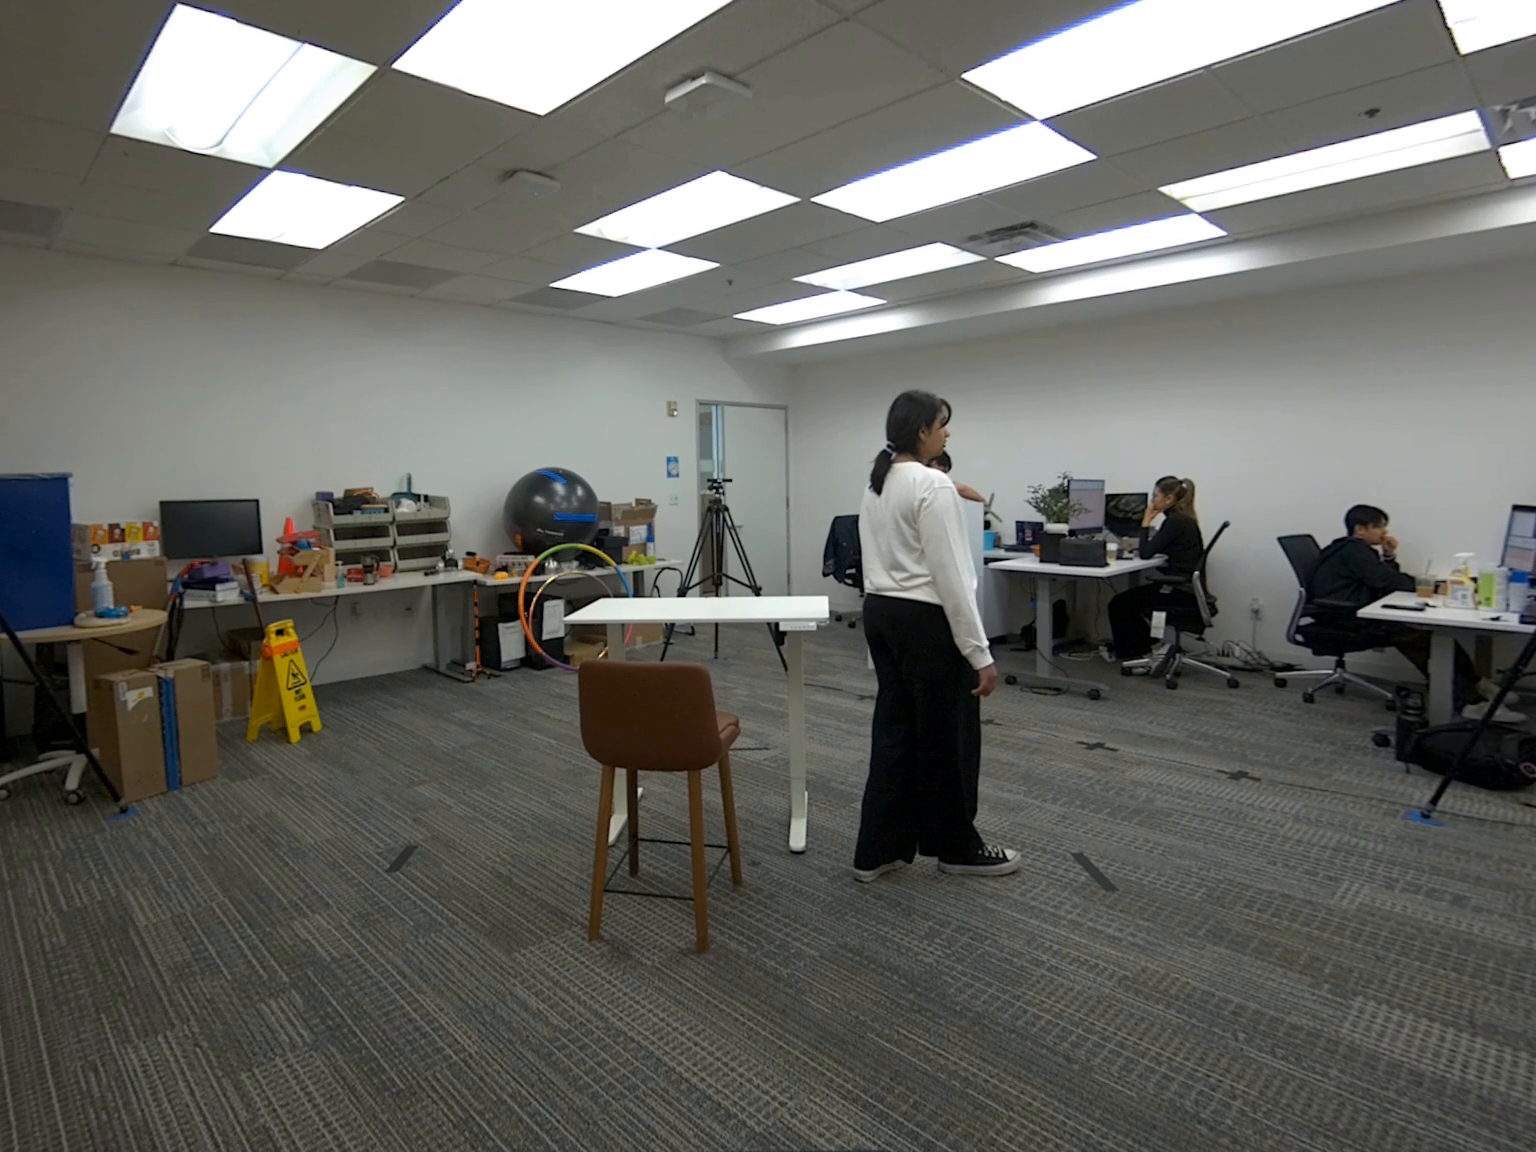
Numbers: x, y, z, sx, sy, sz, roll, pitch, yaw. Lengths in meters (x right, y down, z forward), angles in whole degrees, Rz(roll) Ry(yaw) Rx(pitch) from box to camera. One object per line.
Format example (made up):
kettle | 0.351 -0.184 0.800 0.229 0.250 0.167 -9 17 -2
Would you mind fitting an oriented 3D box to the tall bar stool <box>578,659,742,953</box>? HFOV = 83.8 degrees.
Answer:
tall bar stool | -0.330 0.657 2.752 0.463 0.885 0.464 0 6 13
